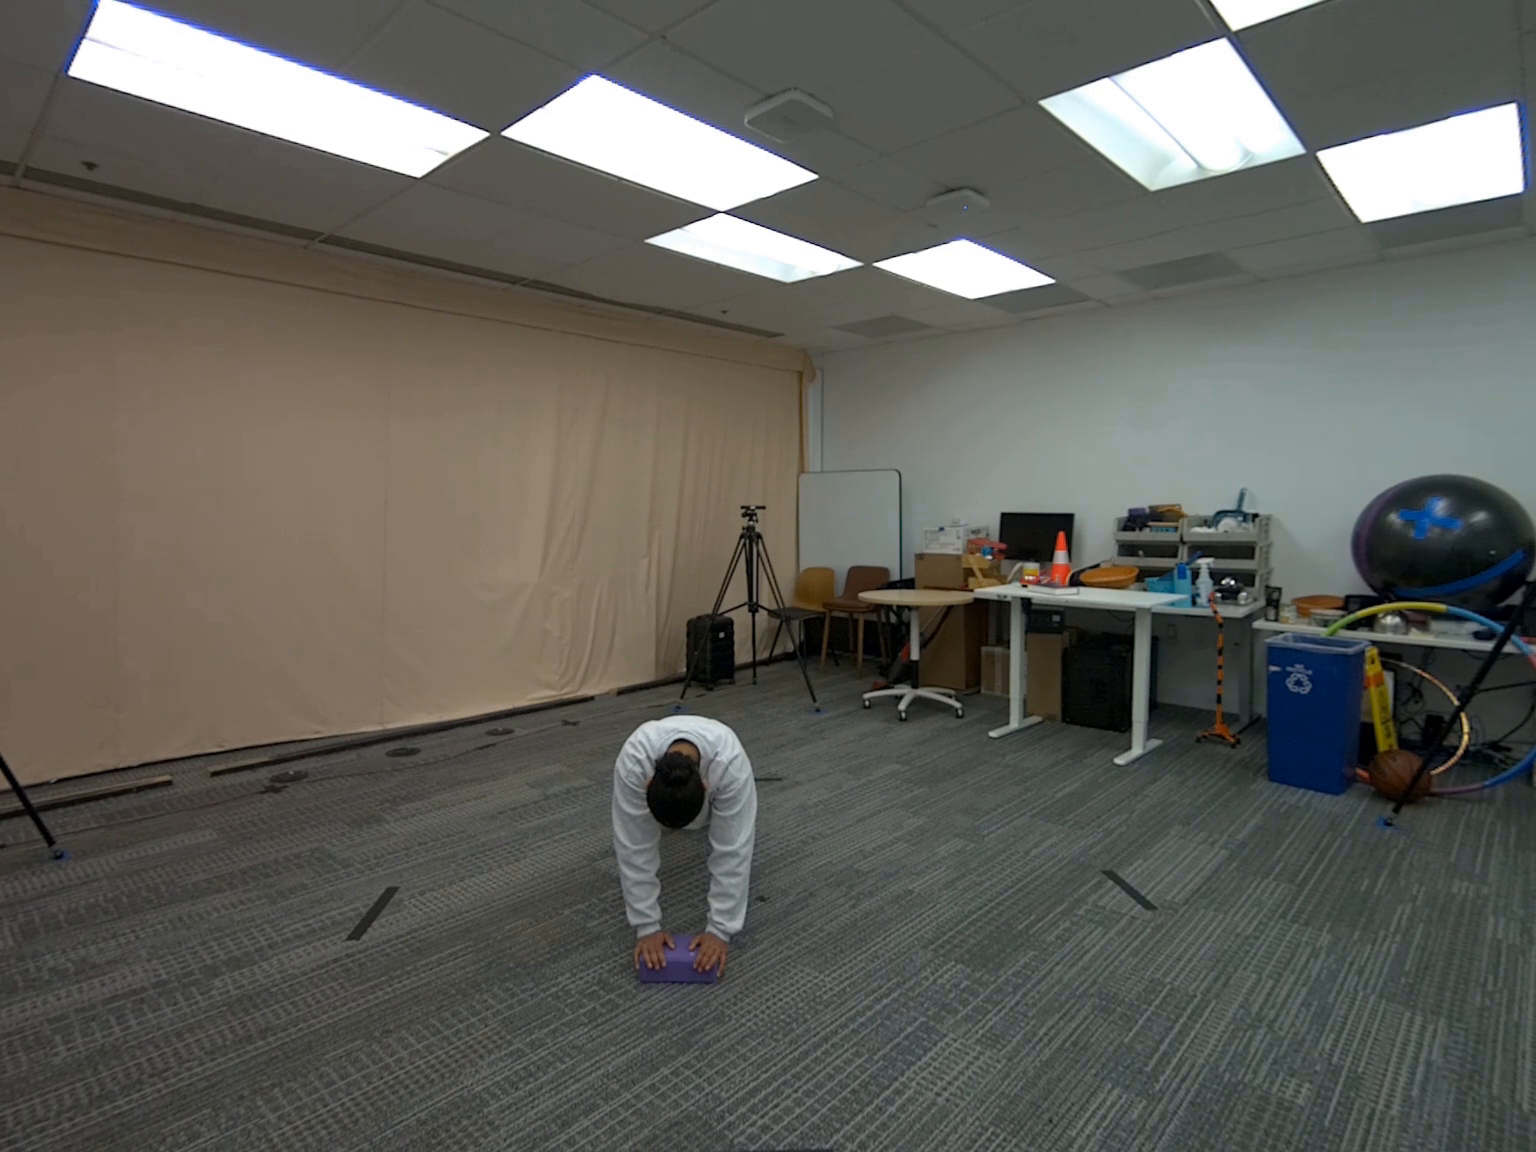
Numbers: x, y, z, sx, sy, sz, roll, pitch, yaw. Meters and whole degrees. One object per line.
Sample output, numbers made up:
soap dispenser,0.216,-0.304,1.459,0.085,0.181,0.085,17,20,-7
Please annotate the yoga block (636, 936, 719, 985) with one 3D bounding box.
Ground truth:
yoga block,-0.270,1.135,2.525,0.229,0.076,0.149,2,7,0
